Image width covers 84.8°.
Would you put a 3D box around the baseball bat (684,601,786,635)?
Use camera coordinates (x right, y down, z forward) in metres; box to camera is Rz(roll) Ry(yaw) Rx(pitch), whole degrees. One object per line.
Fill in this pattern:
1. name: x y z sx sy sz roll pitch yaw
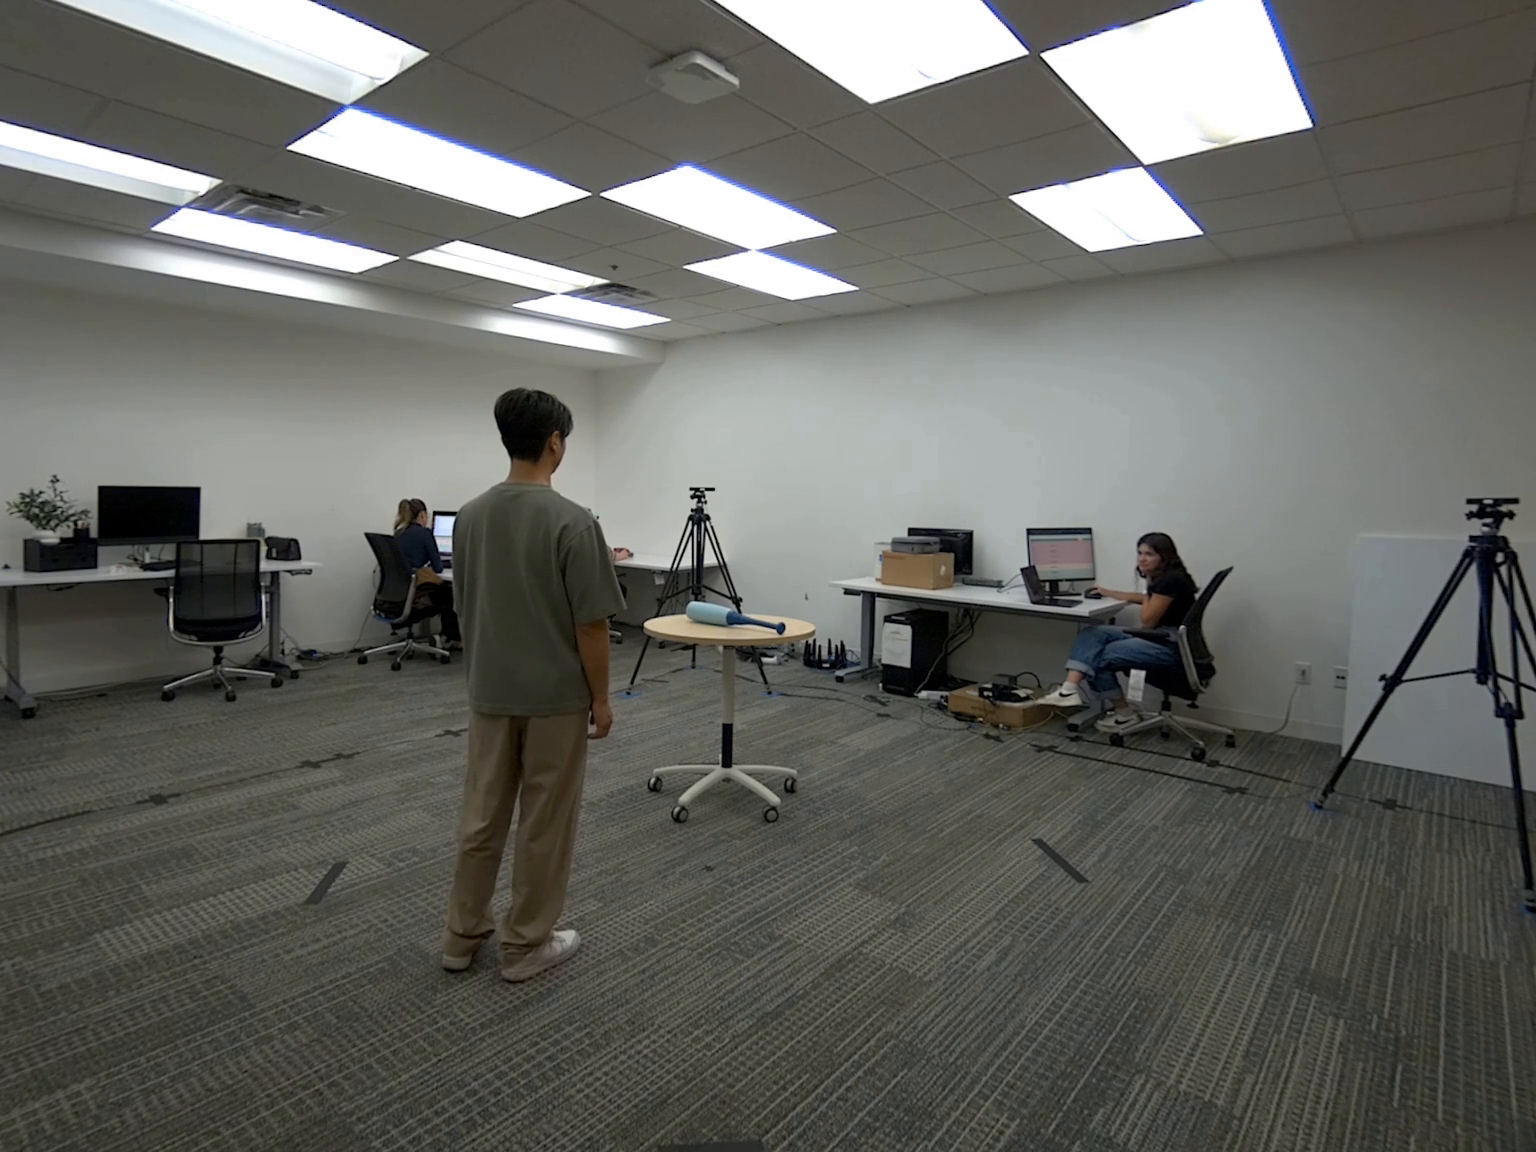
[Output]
1. baseball bat: -0.160 0.185 3.730 0.562 0.088 0.086 8 8 41
